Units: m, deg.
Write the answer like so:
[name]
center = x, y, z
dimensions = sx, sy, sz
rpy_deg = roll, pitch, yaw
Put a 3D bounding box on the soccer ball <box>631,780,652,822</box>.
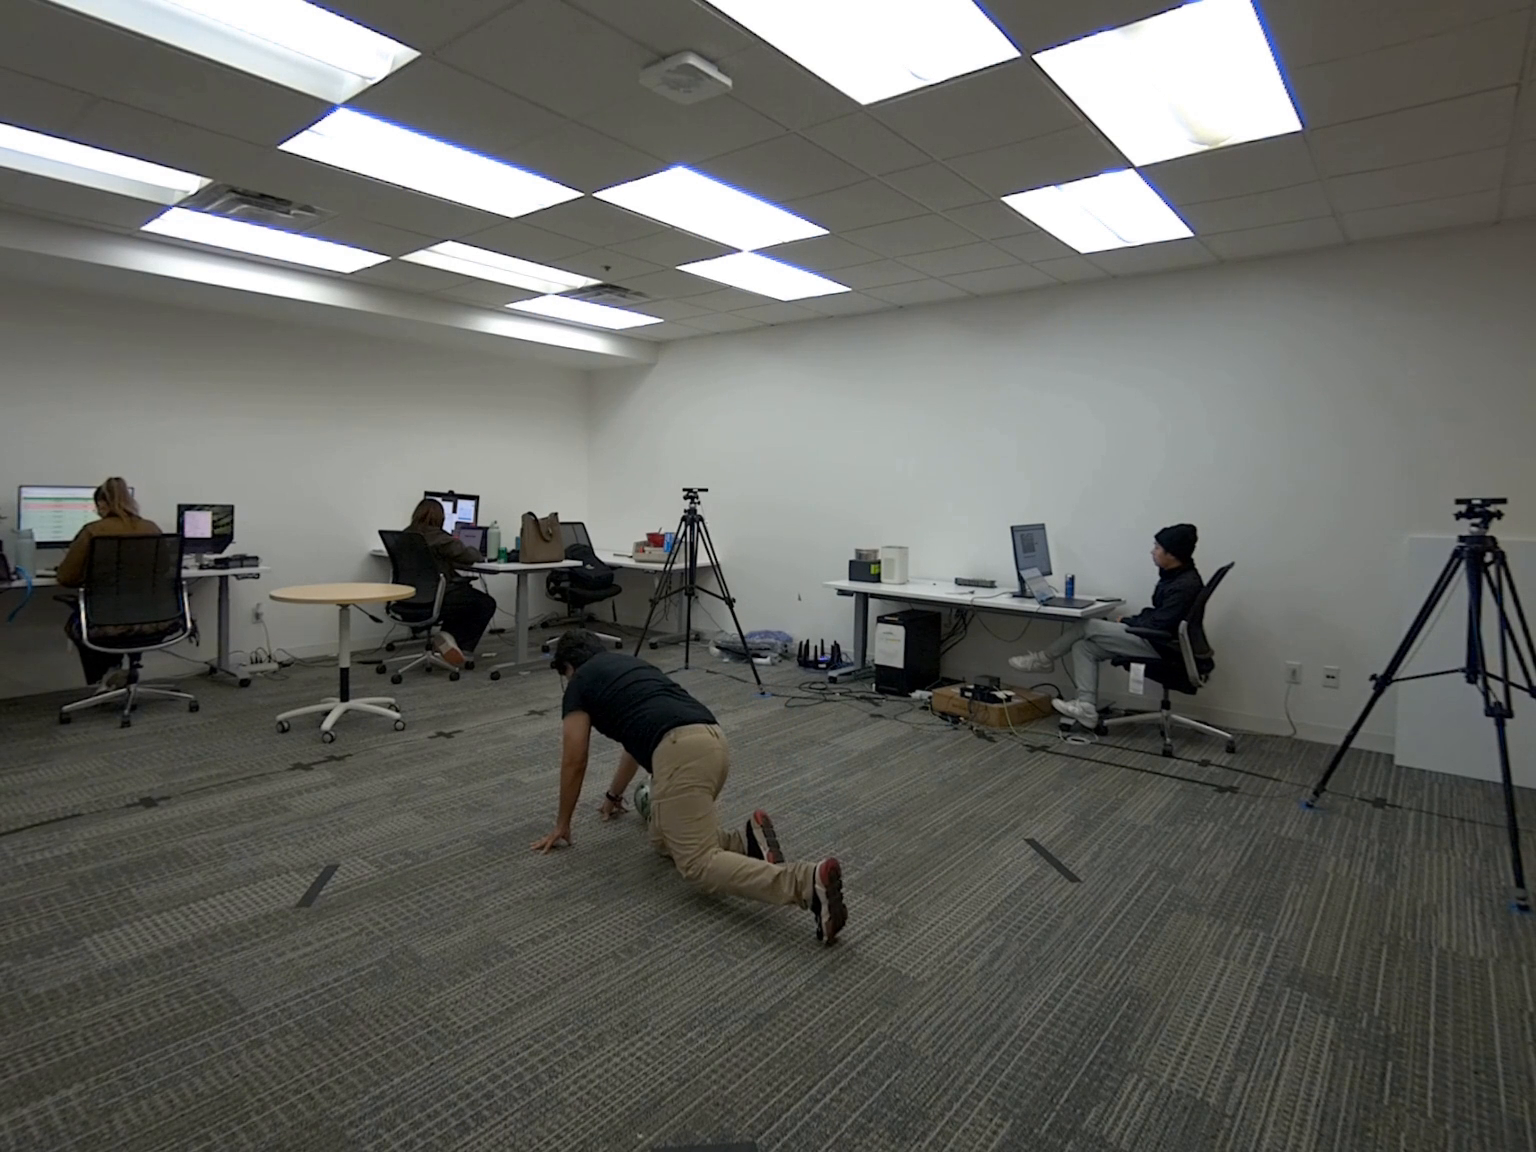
[soccer ball]
center = -0.479, 0.926, 3.567
dimensions = 0.187, 0.187, 0.188
rpy_deg = 1, 4, -2
